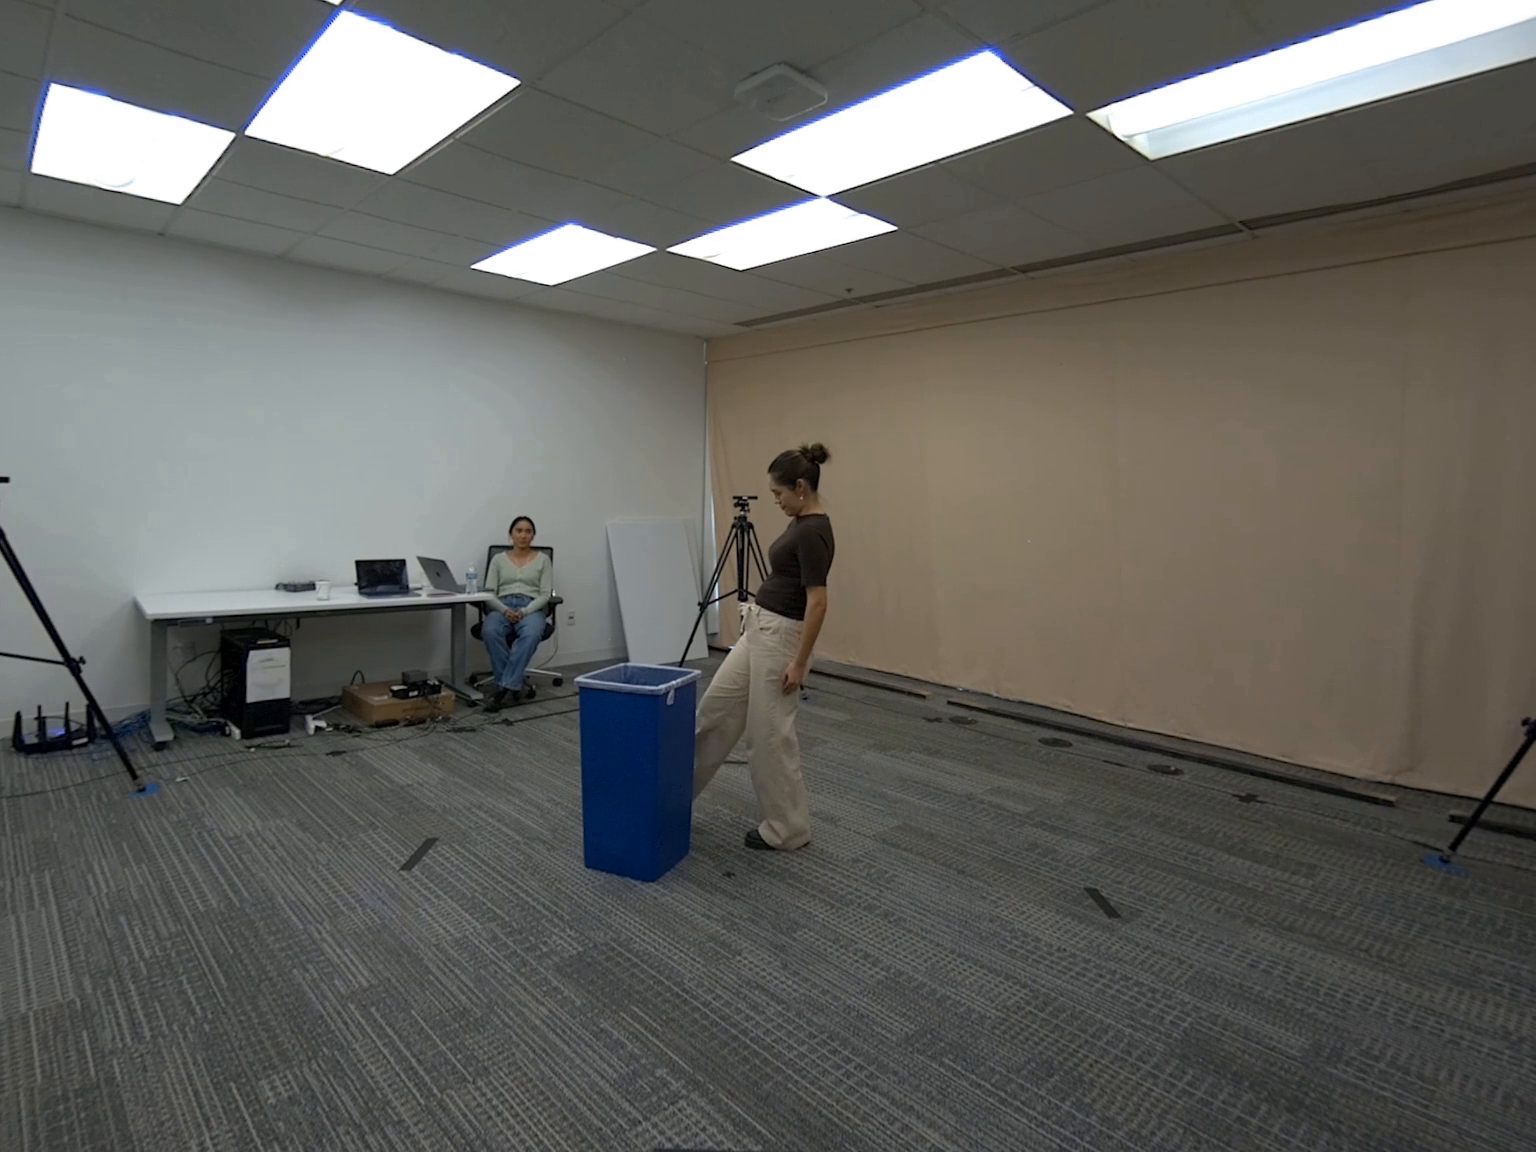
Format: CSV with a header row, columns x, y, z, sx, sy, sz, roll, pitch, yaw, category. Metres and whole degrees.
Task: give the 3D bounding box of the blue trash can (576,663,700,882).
x,y,z,sx,sy,sz,roll,pitch,yaw,category
-0.501,0.726,3.198,0.385,0.711,0.368,2,4,22,blue trash can
